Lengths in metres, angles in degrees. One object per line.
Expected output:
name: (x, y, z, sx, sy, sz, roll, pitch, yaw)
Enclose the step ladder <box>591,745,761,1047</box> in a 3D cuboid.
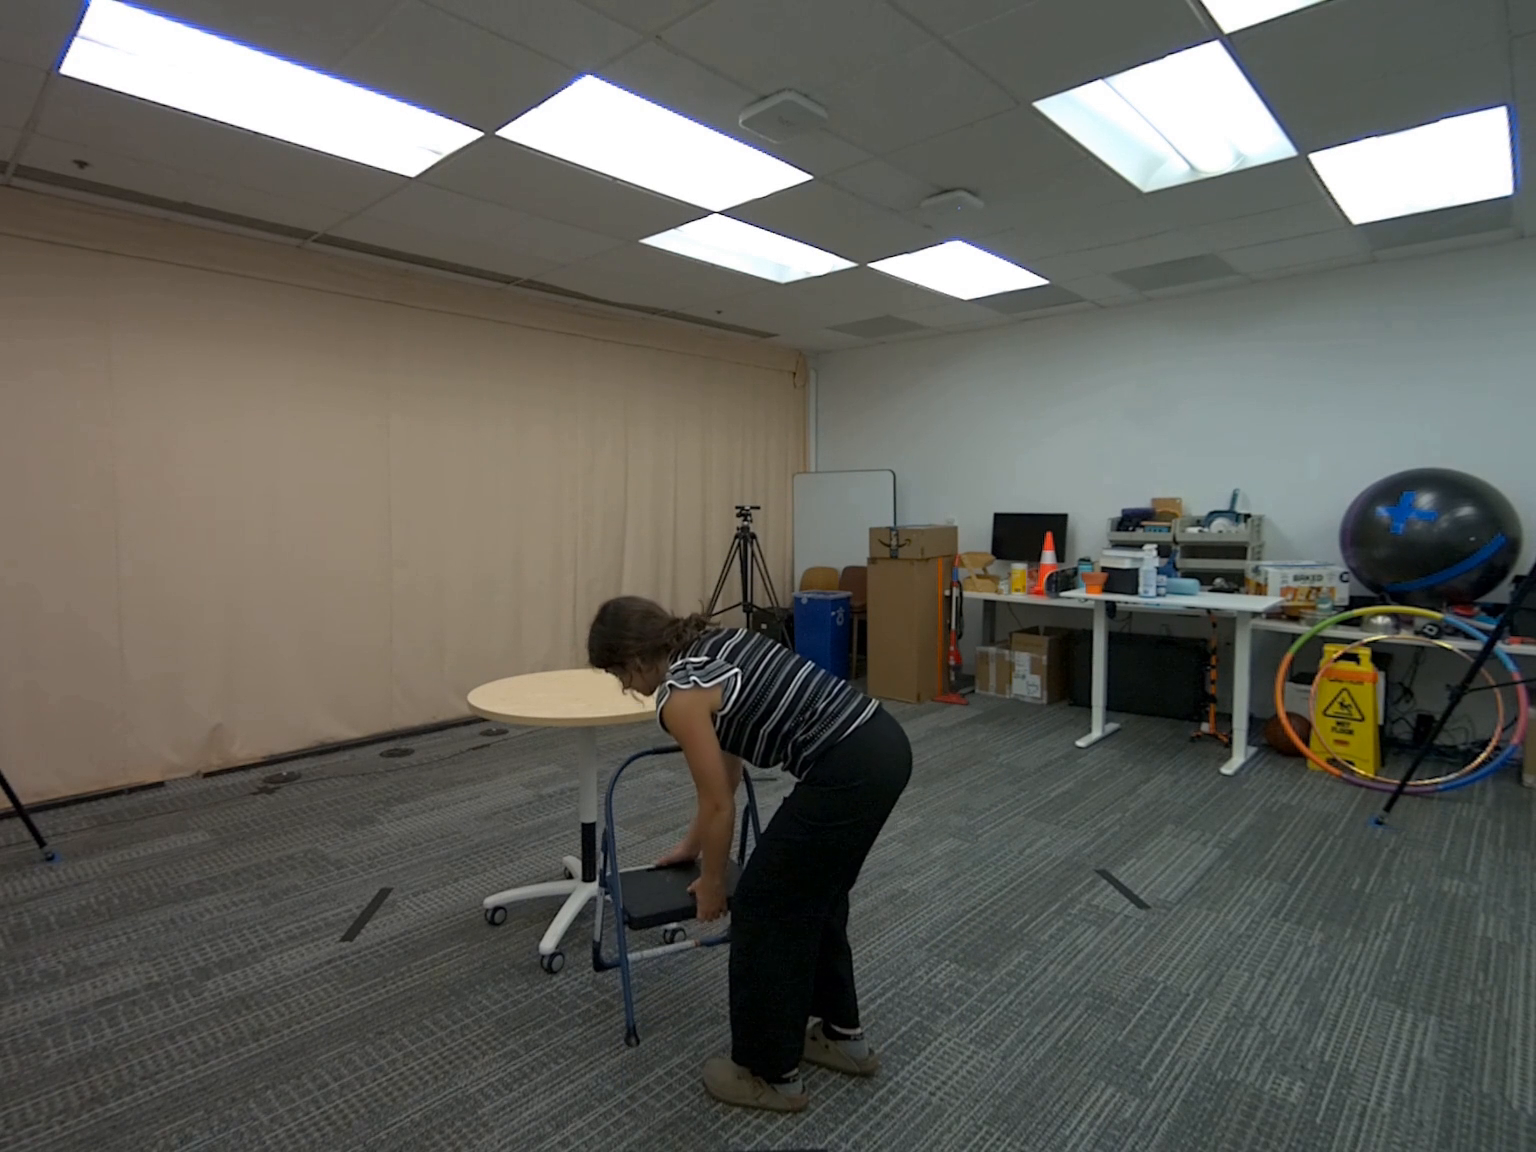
step ladder: (-0.213, 0.753, 2.139, 0.421, 0.604, 0.358, -4, 5, -25)
